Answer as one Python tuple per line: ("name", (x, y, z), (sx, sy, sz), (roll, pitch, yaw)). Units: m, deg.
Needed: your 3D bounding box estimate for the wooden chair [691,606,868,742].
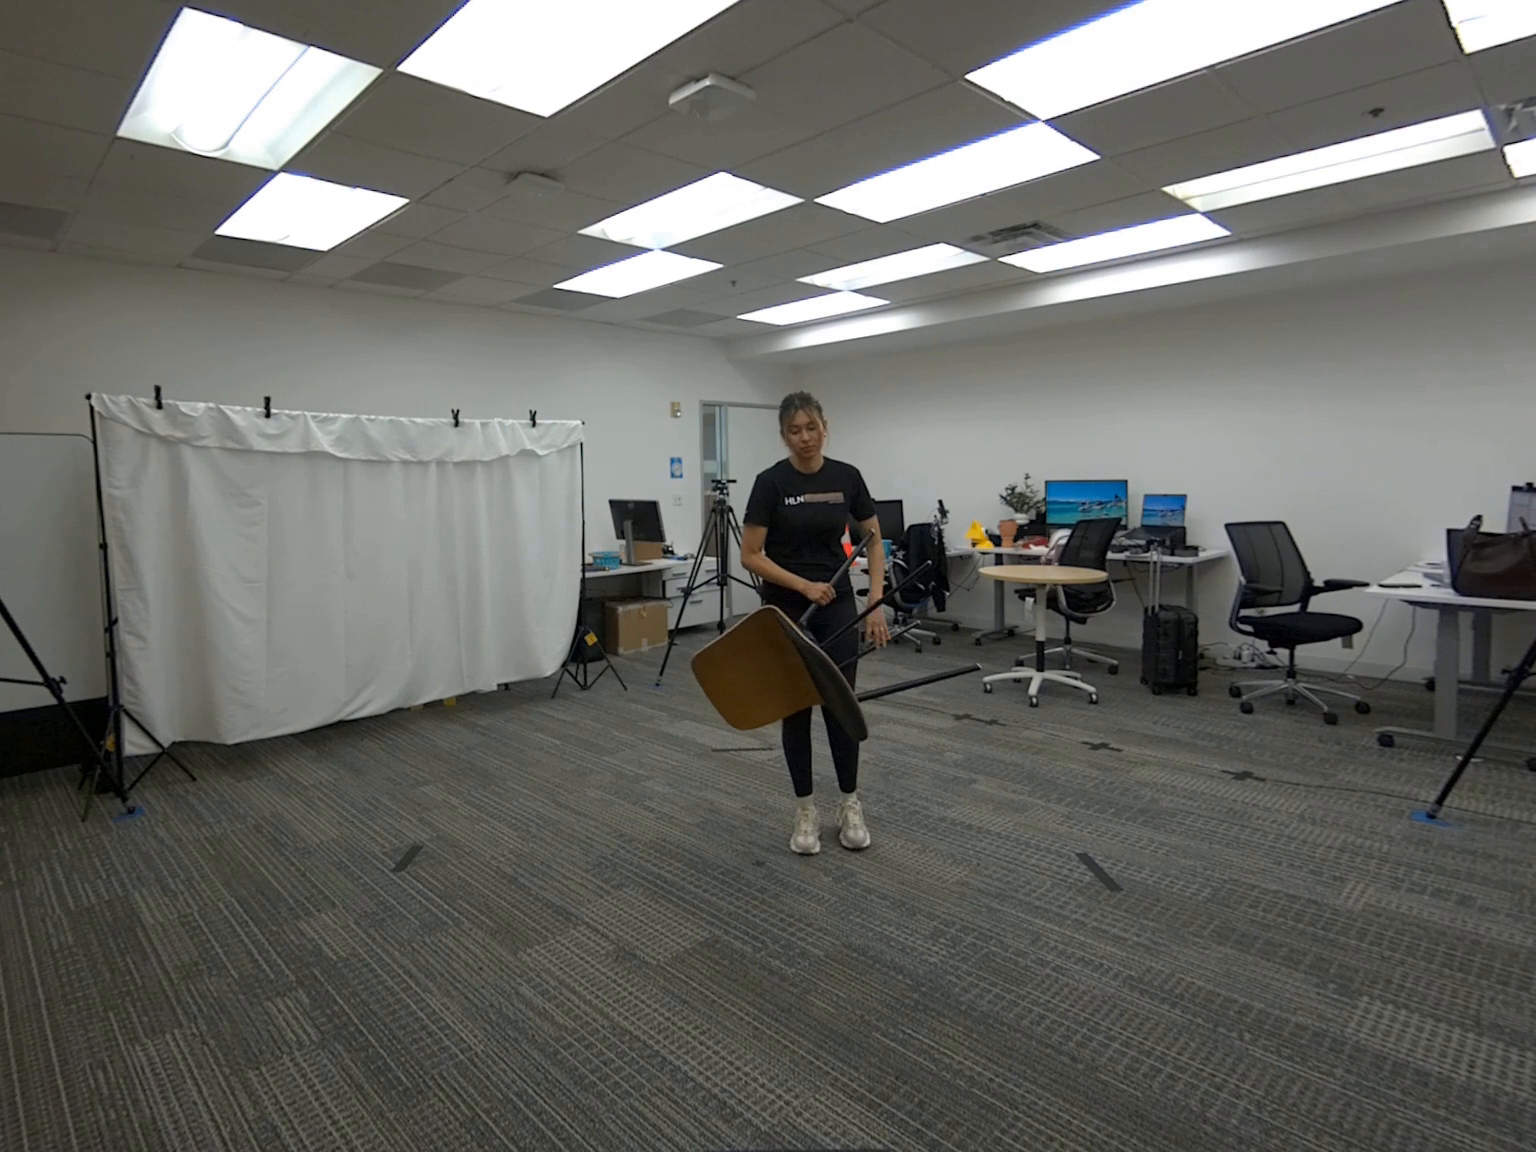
("wooden chair", (0.192, 0.312, 2.970), (0.877, 0.466, 0.536), (-30, 22, 0))
